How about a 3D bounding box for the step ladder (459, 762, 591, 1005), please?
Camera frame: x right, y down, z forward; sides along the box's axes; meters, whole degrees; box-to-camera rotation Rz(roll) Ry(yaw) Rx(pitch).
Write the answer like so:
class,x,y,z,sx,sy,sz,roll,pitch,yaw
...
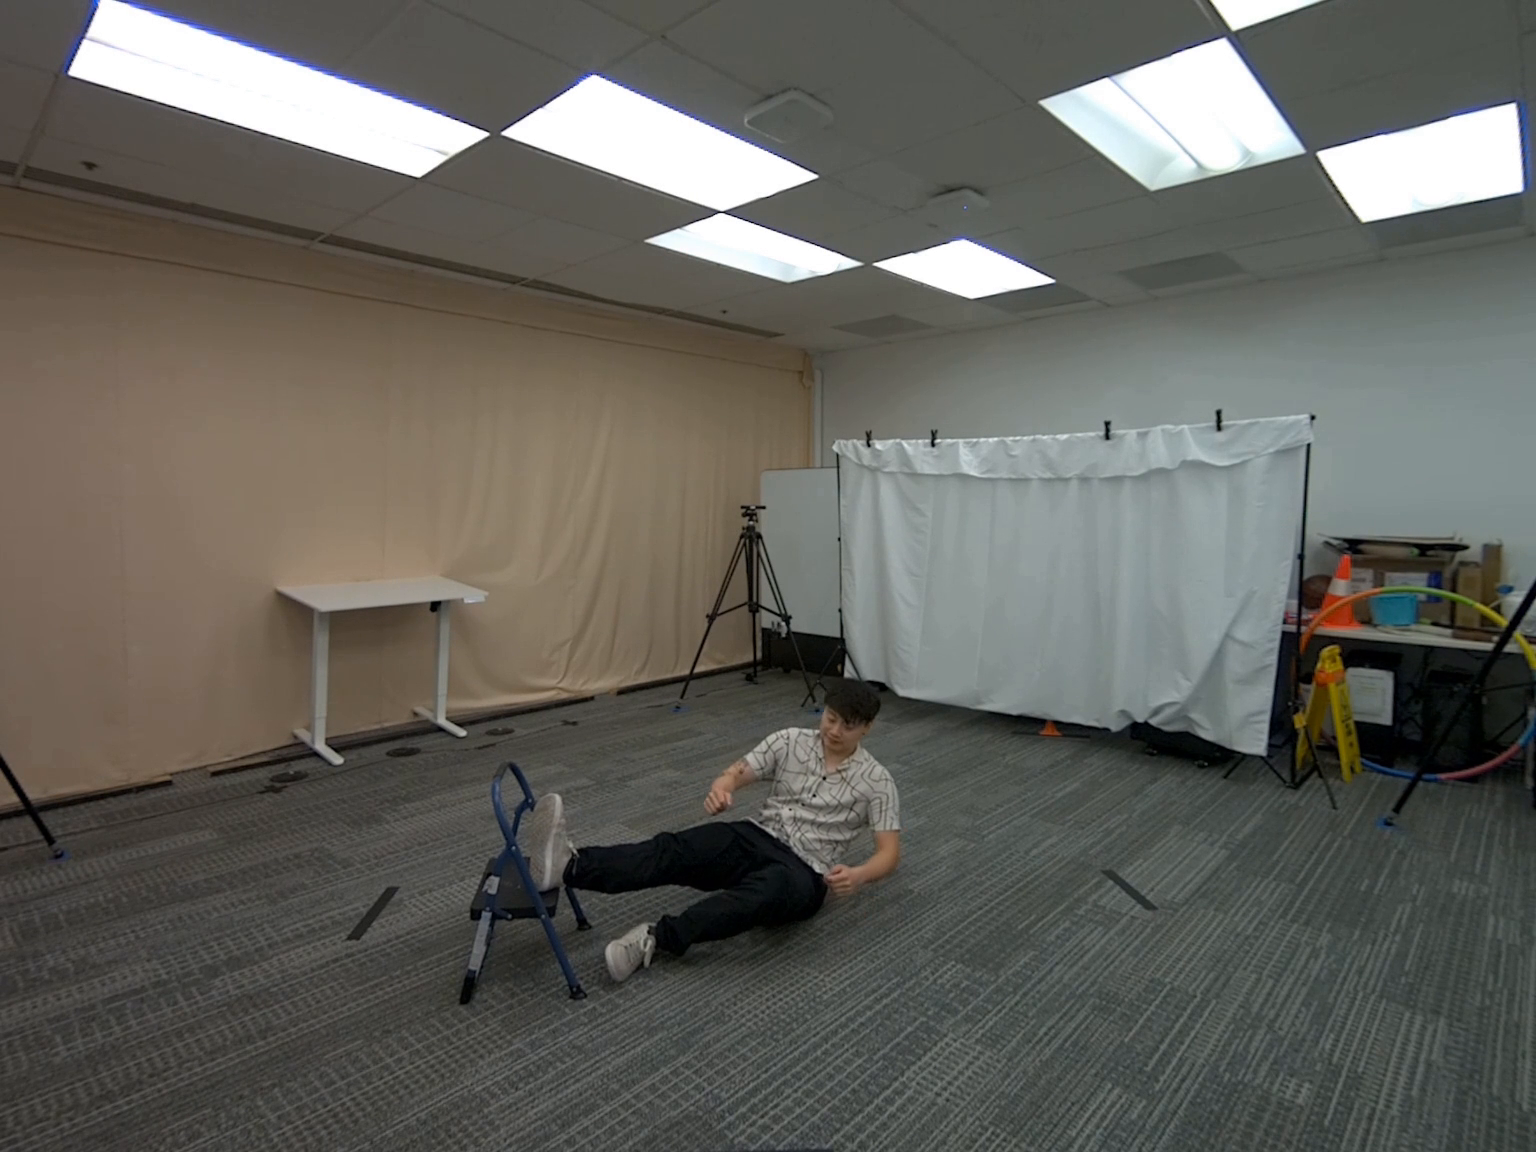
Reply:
class,x,y,z,sx,sy,sz,roll,pitch,yaw
step ladder,-0.734,0.889,2.554,0.346,0.605,0.435,-1,3,-9
